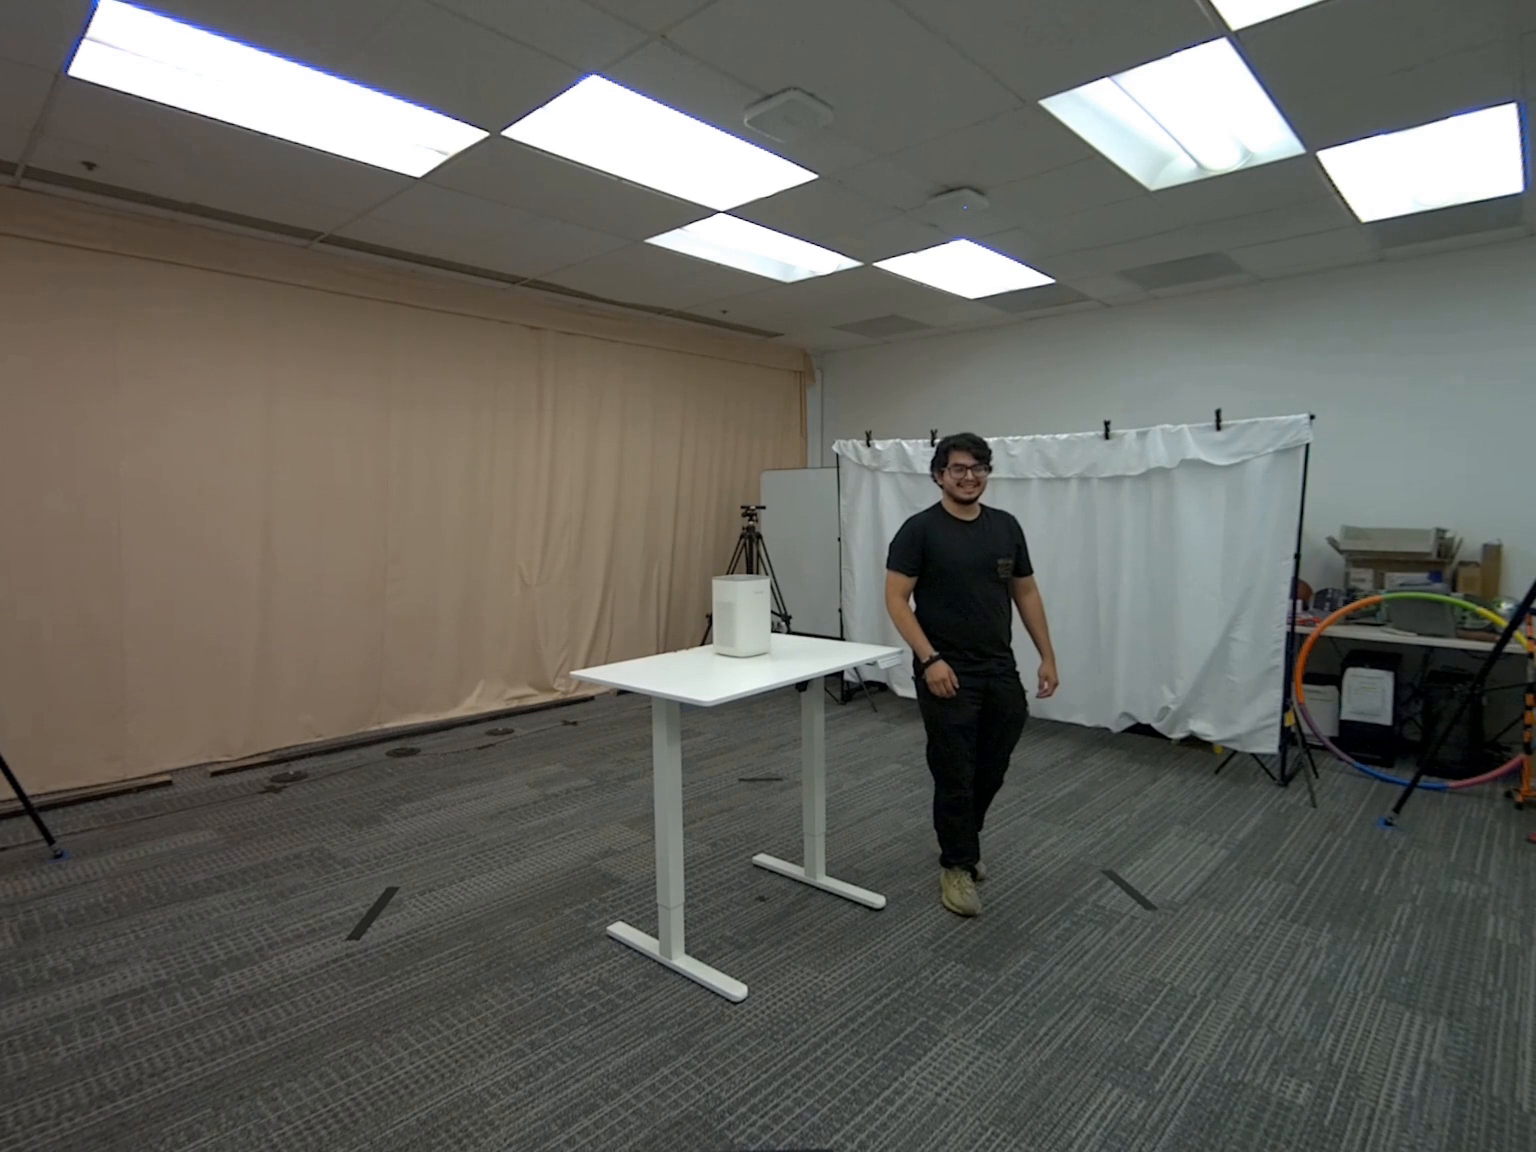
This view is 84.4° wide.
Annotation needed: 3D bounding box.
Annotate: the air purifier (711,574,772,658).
[{"bbox_3d":[-0.088,0.138,2.889,0.177,0.264,0.166,4,7,44],"label":"air purifier"}]
